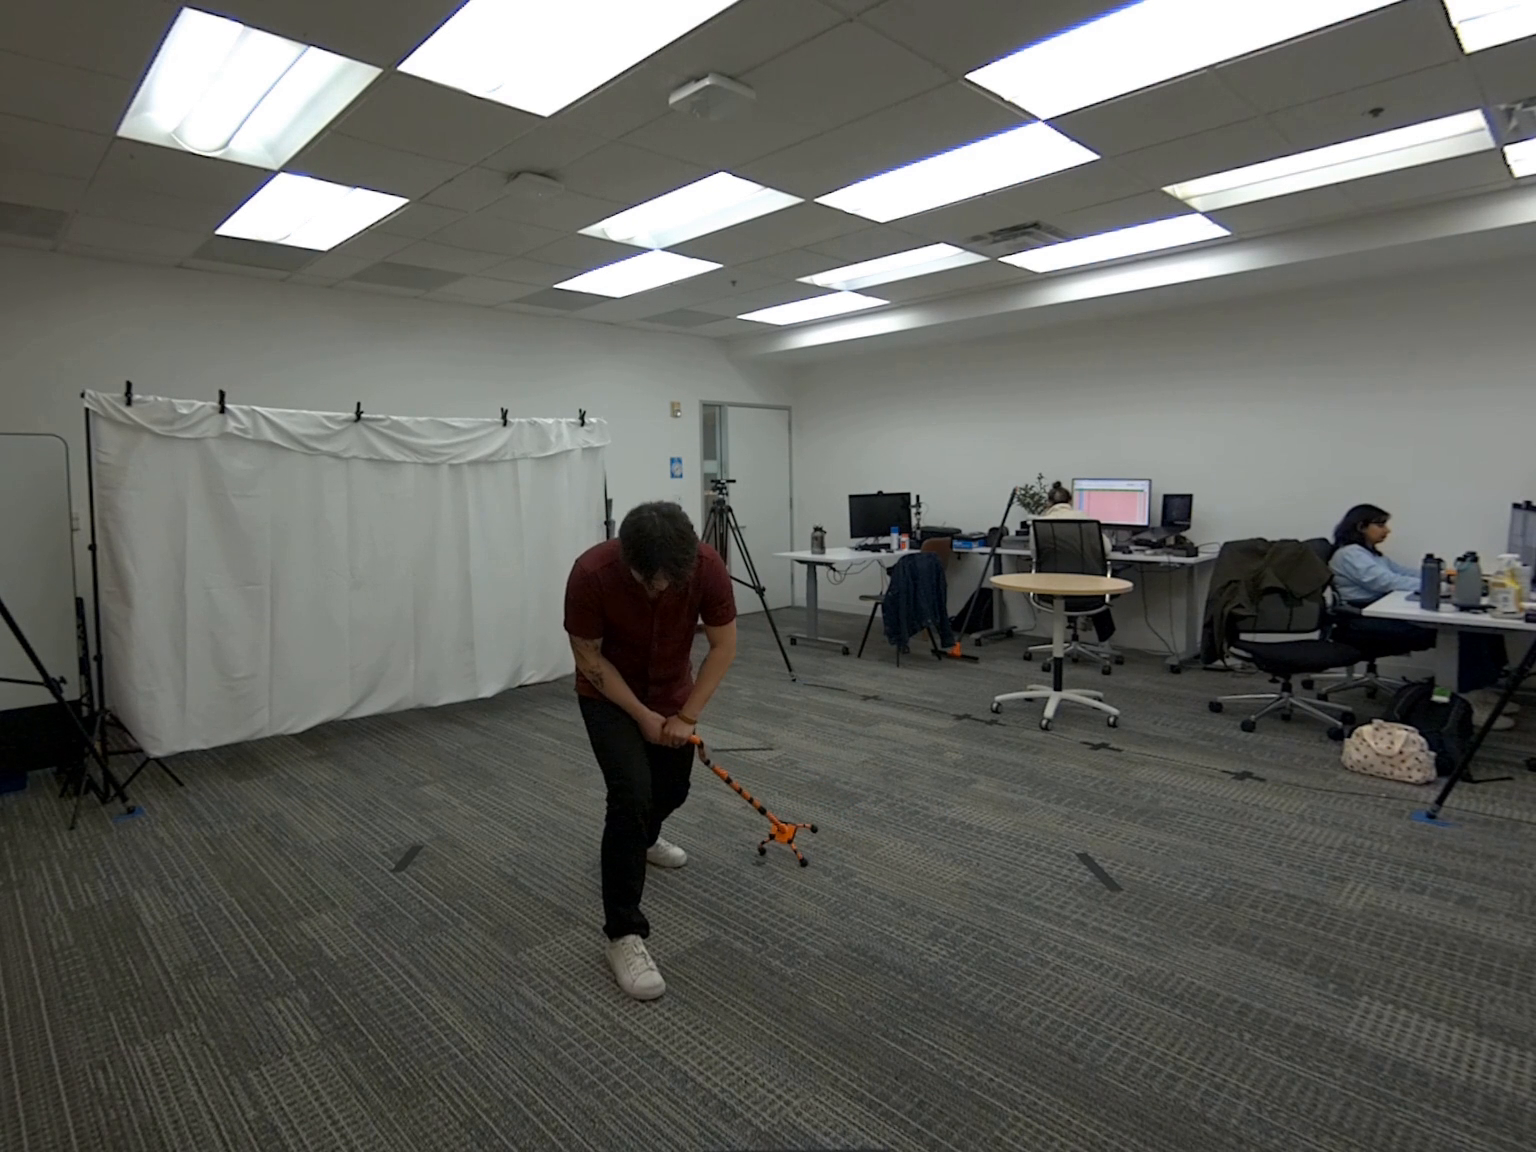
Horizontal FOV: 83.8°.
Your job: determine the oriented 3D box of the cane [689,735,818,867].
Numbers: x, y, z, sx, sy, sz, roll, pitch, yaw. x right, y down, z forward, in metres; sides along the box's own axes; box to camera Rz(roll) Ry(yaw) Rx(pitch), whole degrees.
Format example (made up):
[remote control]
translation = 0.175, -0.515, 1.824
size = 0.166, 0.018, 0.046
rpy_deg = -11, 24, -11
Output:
[cane]
translation = -0.093, 0.734, 2.860
size = 0.212, 0.153, 0.873
rpy_deg = 3, -33, 31
